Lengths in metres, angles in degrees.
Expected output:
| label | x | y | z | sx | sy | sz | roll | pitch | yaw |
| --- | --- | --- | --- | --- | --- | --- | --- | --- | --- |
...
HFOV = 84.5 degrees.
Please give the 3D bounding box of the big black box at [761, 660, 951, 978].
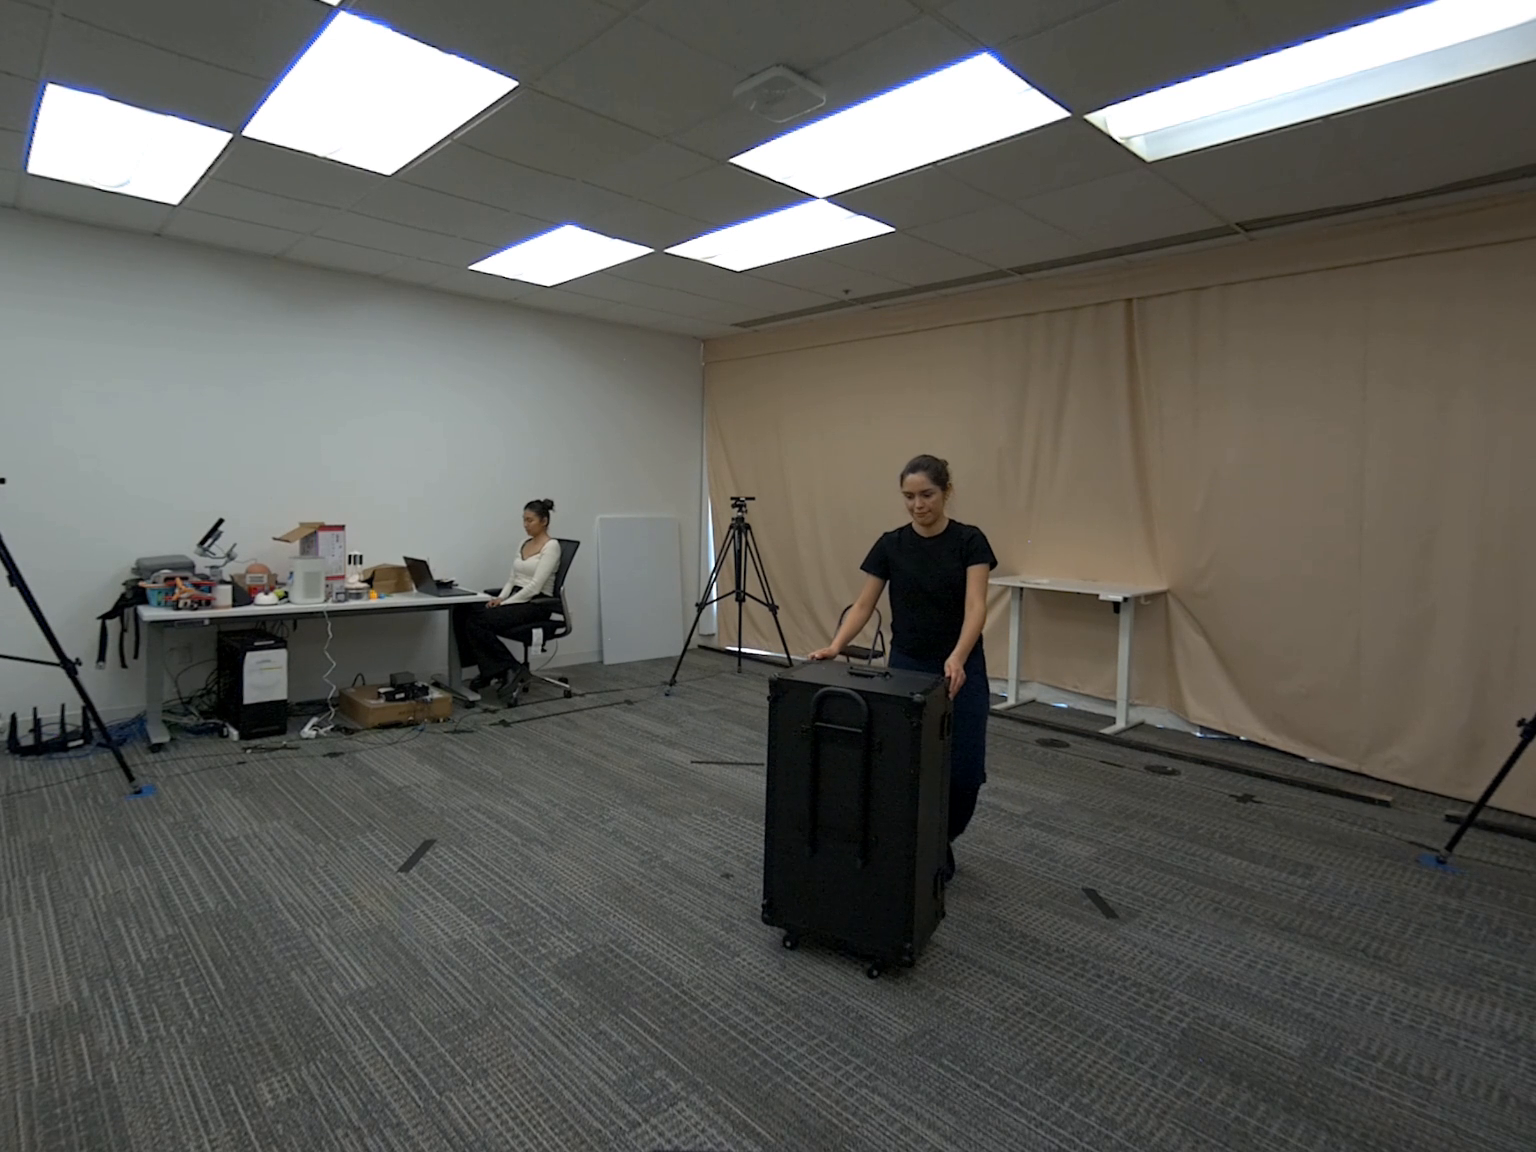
| label | x | y | z | sx | sy | sz | roll | pitch | yaw |
| --- | --- | --- | --- | --- | --- | --- | --- | --- | --- |
| big black box | 0.278 | 0.735 | 2.610 | 0.532 | 0.859 | 0.389 | 4 | 5 | 29 |
